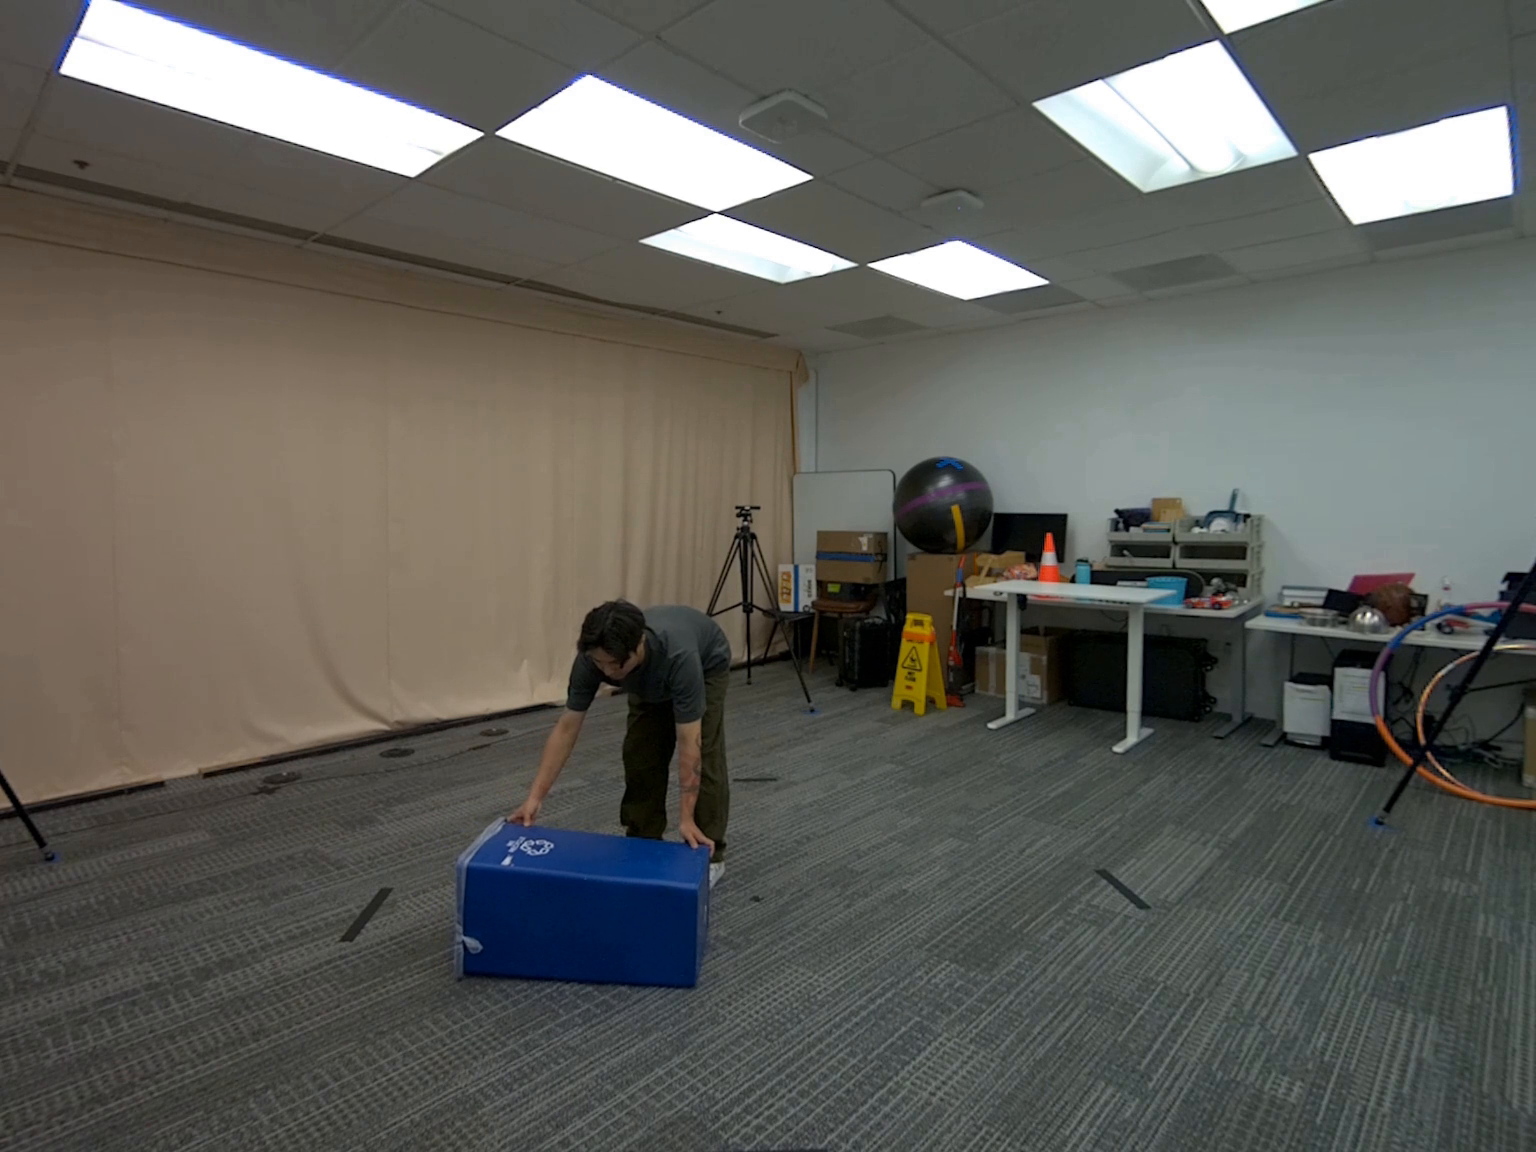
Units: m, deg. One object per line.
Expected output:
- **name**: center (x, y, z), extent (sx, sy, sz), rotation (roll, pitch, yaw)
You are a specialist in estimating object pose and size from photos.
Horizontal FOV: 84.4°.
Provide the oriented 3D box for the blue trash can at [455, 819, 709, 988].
- **blue trash can**: center (-0.561, 1.012, 2.594), extent (0.719, 0.373, 0.376), rotation (2, 5, 7)
